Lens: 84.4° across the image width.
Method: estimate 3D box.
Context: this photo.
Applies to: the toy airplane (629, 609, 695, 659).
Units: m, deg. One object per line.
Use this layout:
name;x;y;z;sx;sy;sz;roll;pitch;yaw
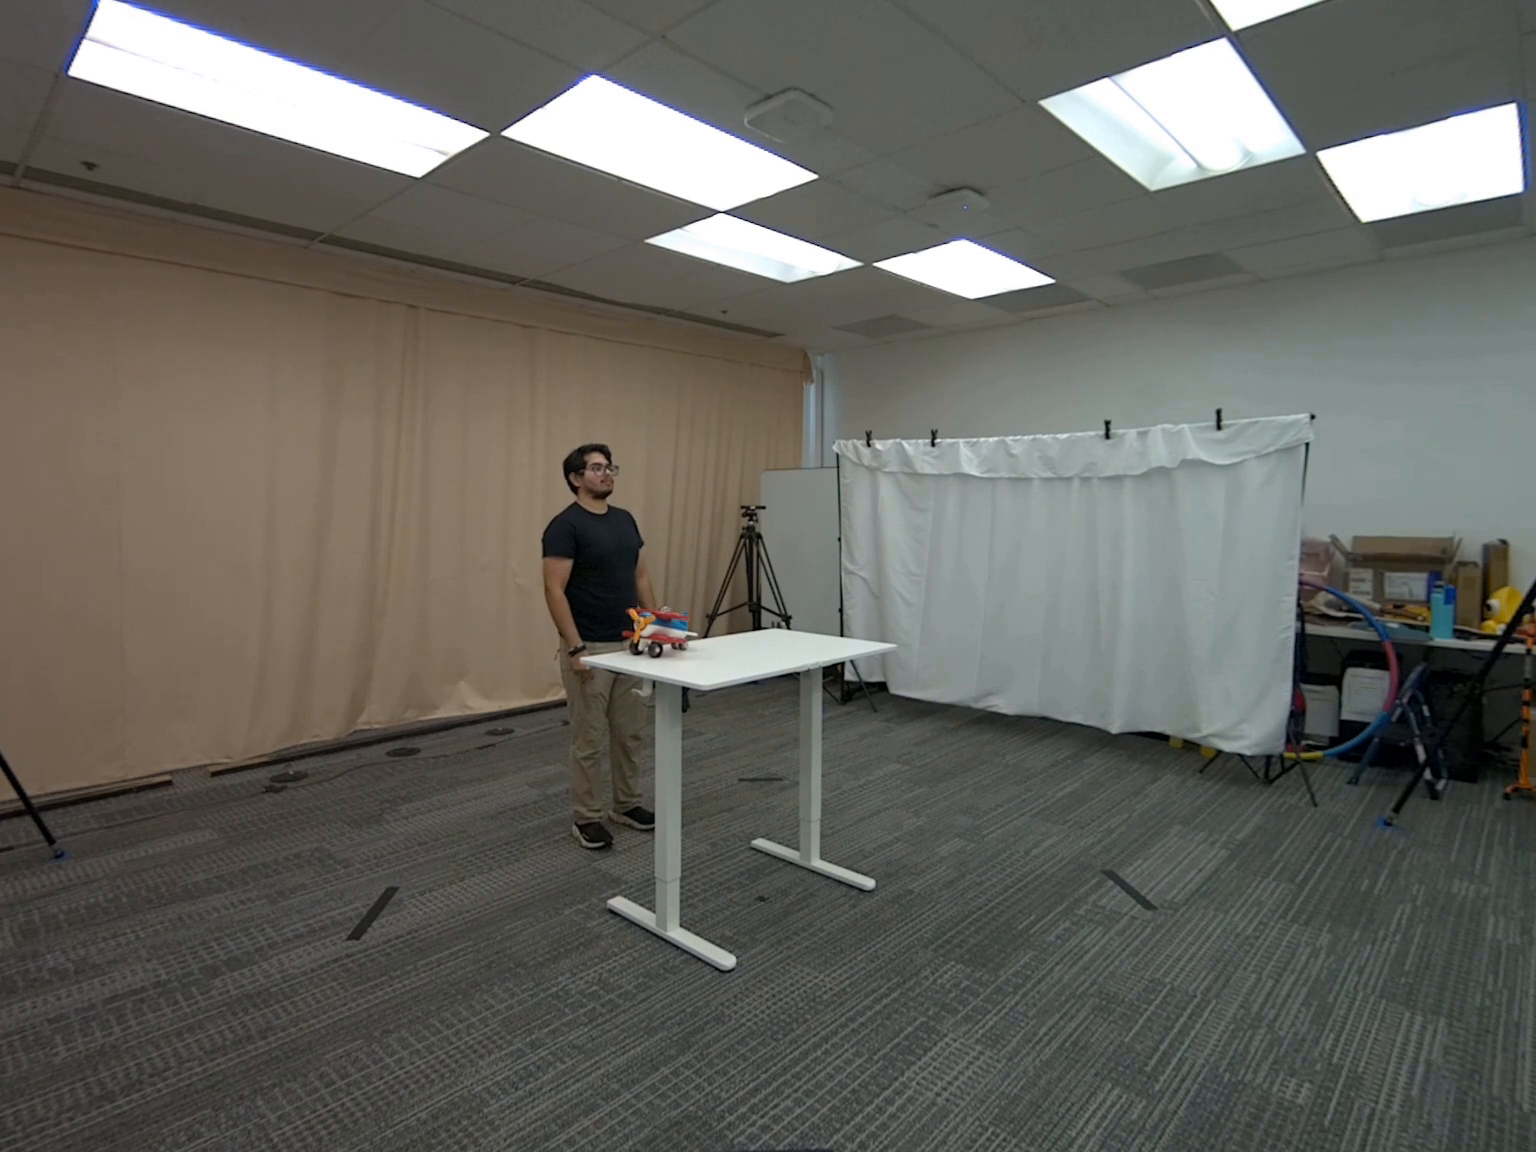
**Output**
toy airplane;-0.377;0.189;2.909;0.253;0.156;0.257;2;5;7
